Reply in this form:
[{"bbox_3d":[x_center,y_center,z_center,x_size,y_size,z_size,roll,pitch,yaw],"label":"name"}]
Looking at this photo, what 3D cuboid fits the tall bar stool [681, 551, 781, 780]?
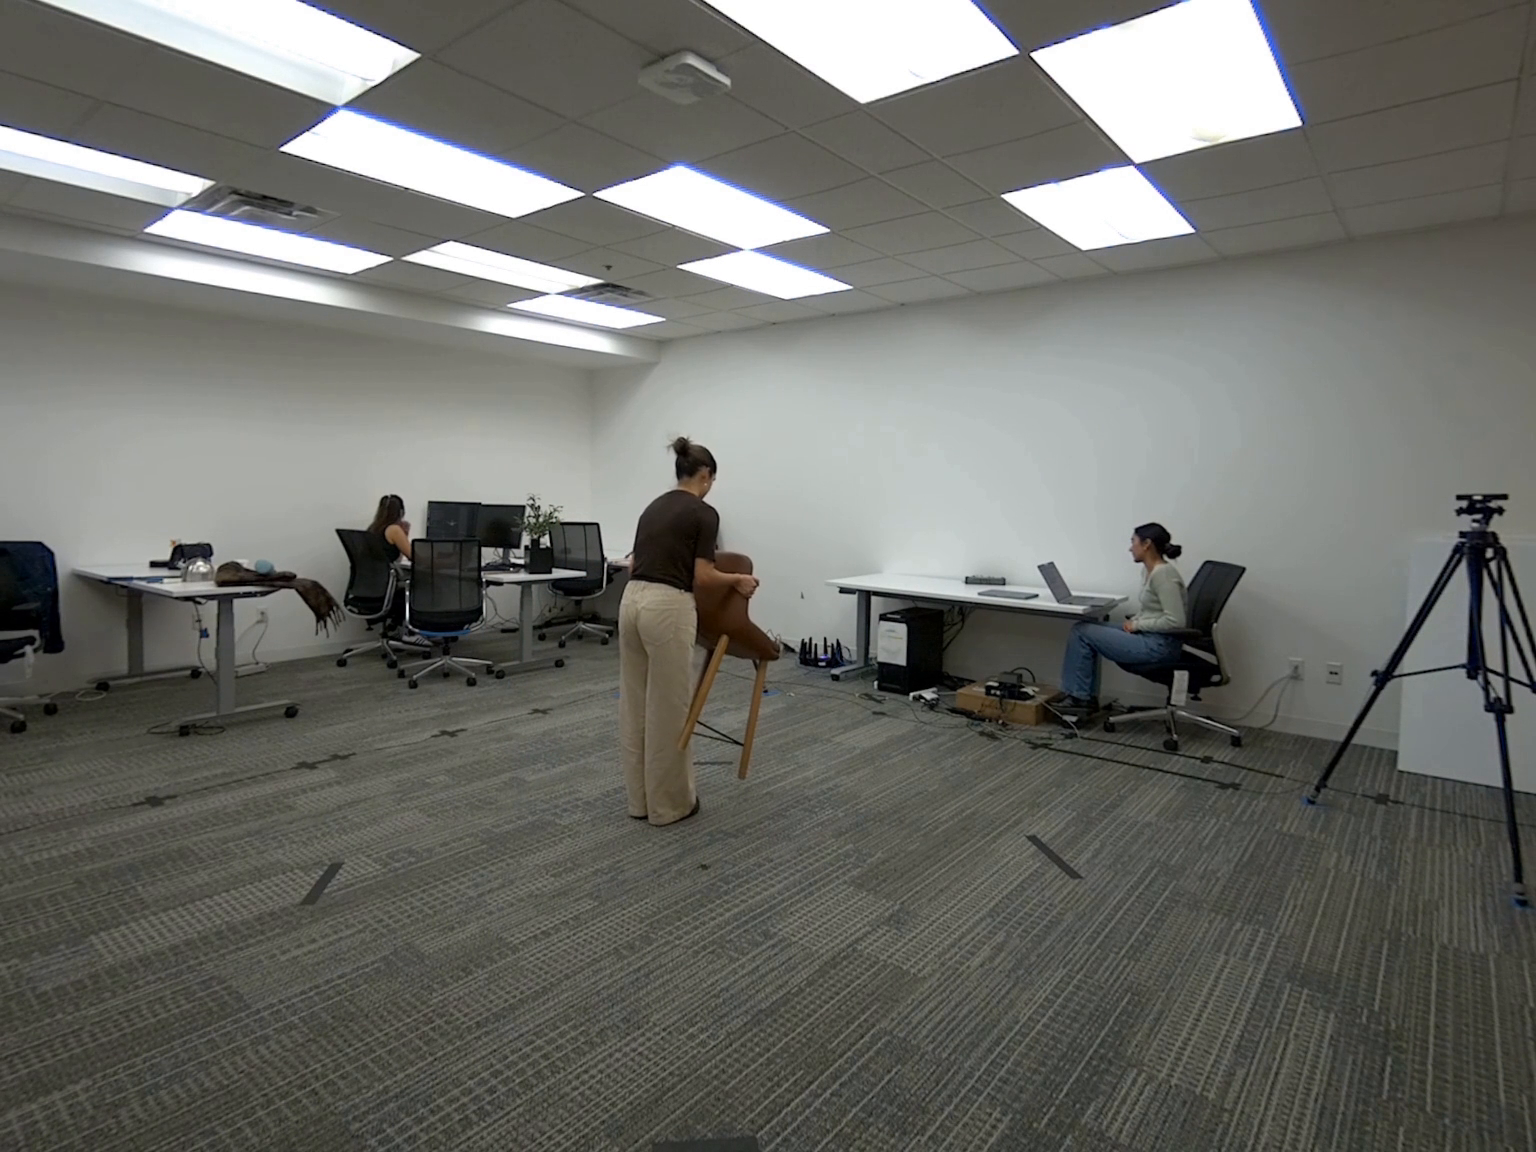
[{"bbox_3d":[-0.259,0.387,3.818,0.471,0.899,0.448,1,-24,39],"label":"tall bar stool"}]
